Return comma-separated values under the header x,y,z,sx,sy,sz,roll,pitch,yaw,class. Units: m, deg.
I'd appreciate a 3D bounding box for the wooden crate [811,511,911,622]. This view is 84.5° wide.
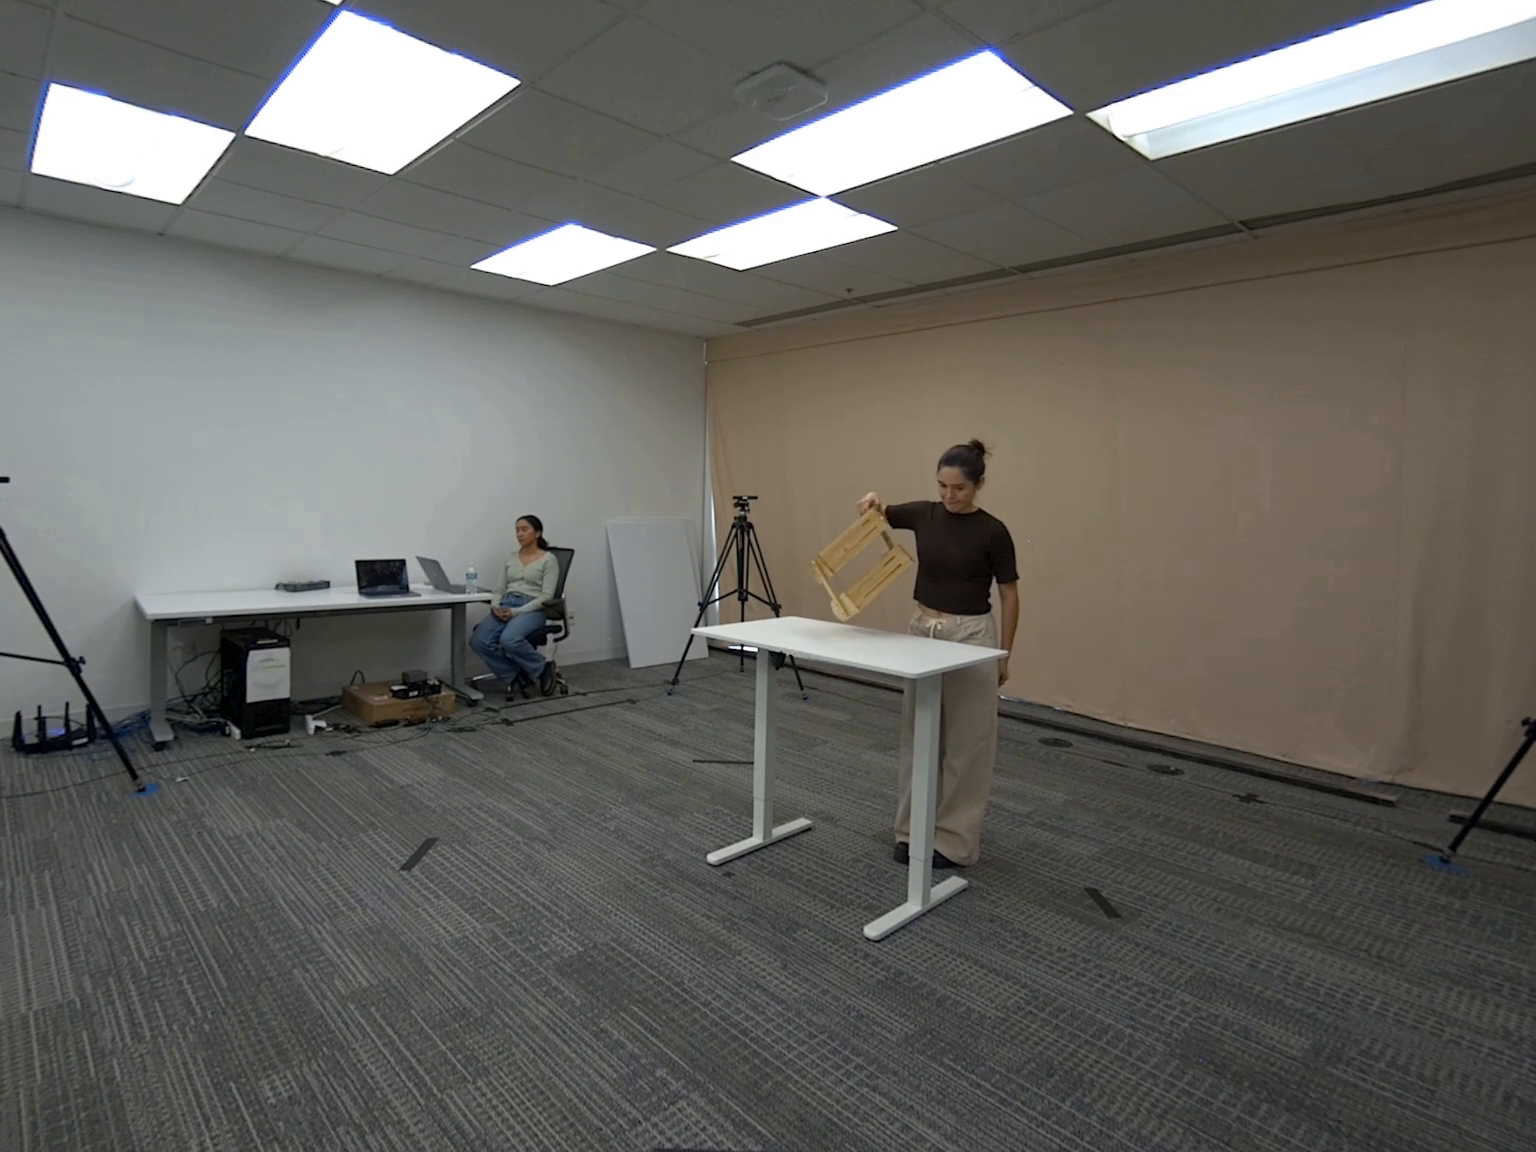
x,y,z,sx,sy,sz,roll,pitch,yaw,class
0.338,-0.041,3.254,0.324,0.275,0.301,-41,-3,-17,wooden crate
